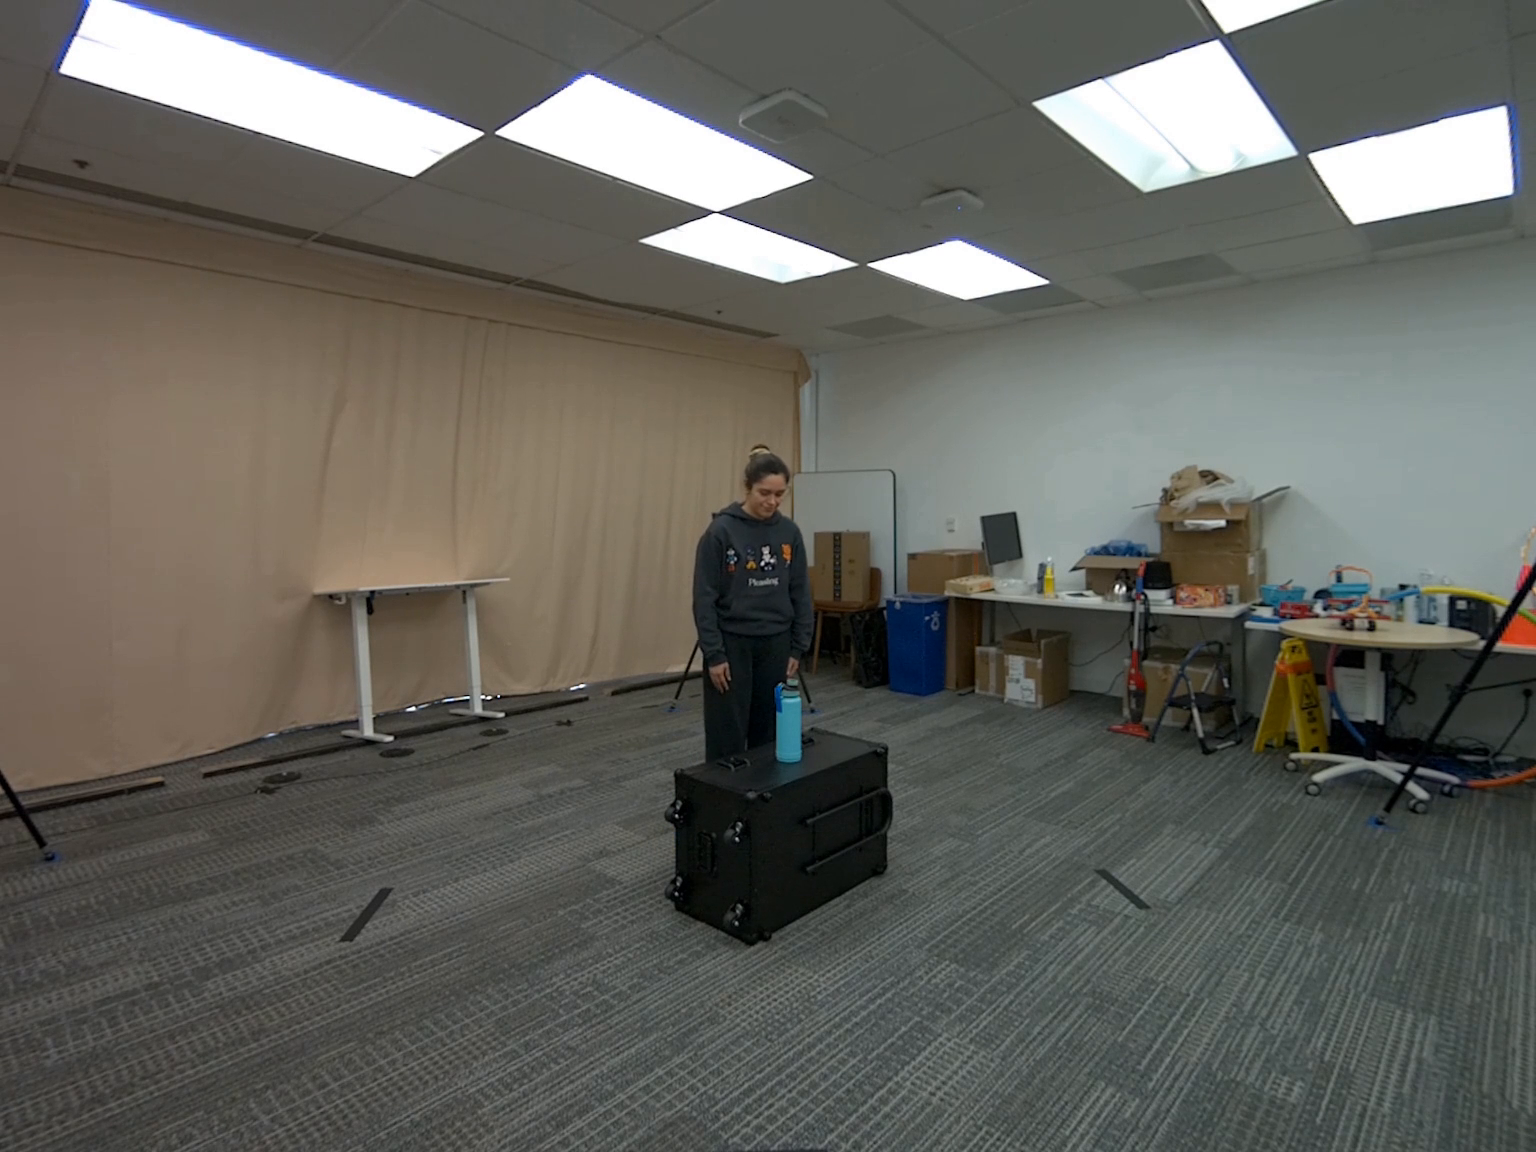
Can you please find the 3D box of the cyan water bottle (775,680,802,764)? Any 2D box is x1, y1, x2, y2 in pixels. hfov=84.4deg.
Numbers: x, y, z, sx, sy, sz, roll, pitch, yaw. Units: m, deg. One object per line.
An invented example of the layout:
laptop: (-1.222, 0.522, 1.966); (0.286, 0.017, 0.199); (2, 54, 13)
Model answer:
cyan water bottle: (0.086, 0.509, 3.018); (0.092, 0.283, 0.092); (-1, 3, -2)
